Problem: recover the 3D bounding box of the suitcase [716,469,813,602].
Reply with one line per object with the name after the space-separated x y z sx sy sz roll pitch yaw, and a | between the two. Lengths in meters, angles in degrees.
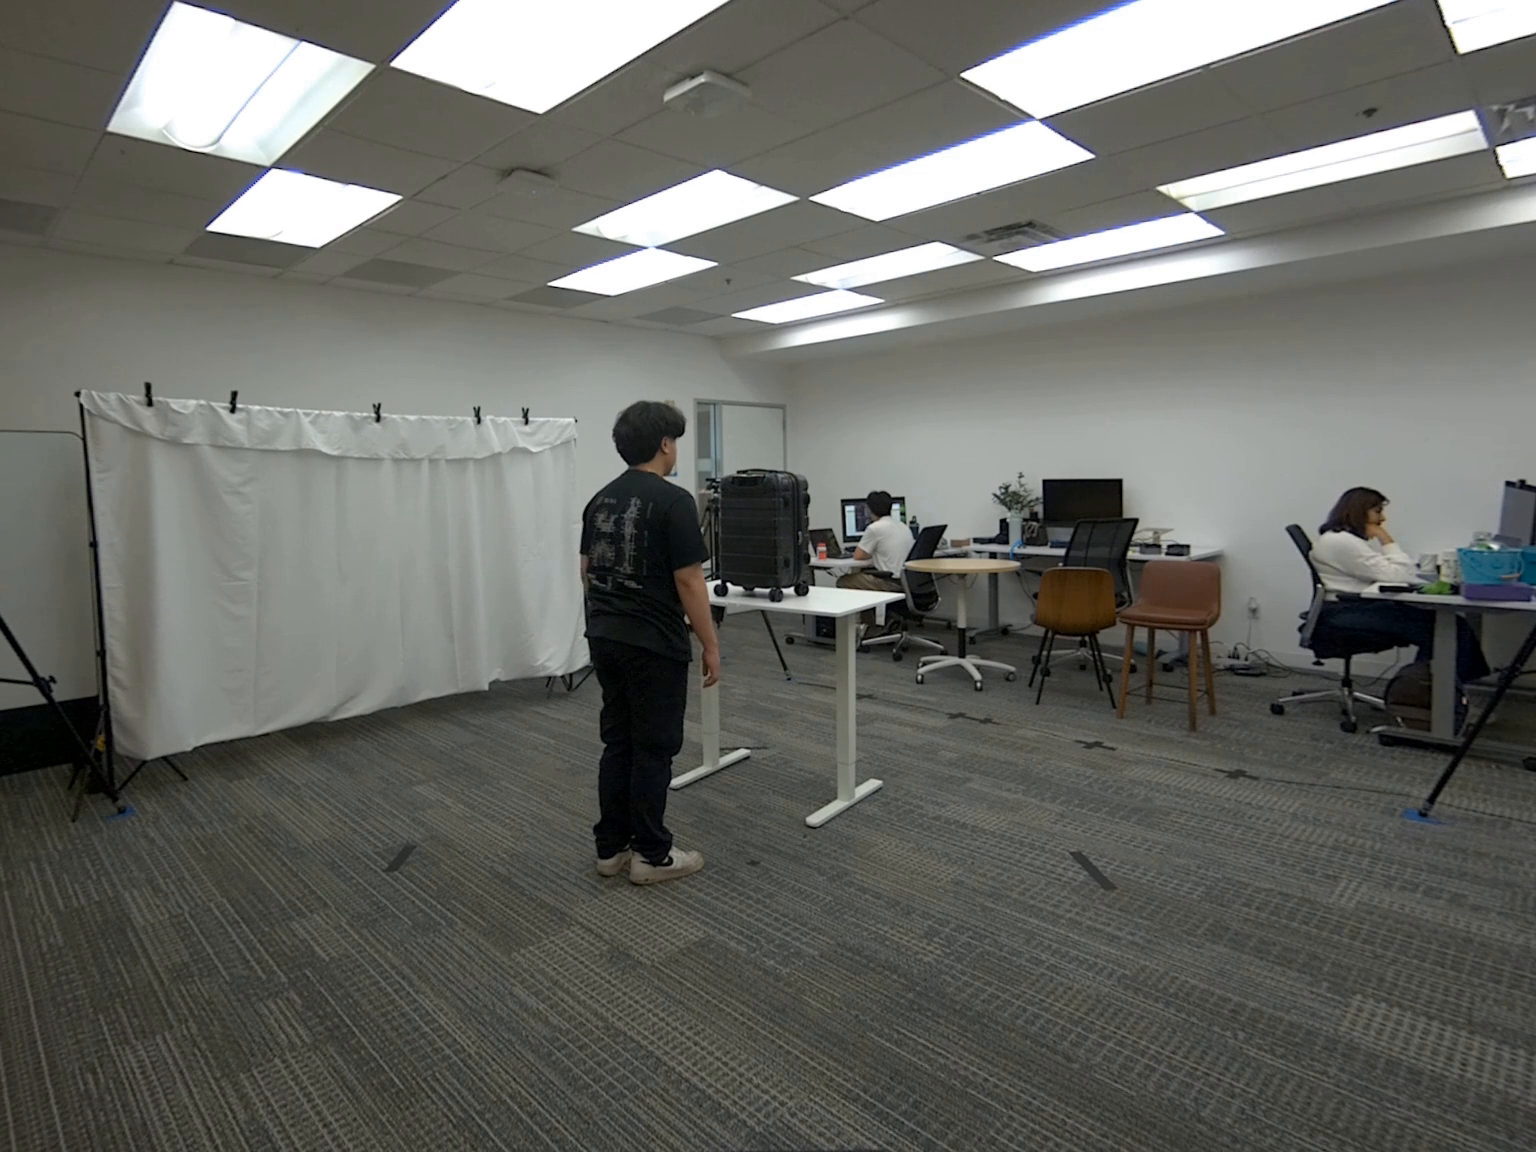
-0.018 -0.190 3.740 0.386 0.548 0.242 3 4 37 | suitcase
